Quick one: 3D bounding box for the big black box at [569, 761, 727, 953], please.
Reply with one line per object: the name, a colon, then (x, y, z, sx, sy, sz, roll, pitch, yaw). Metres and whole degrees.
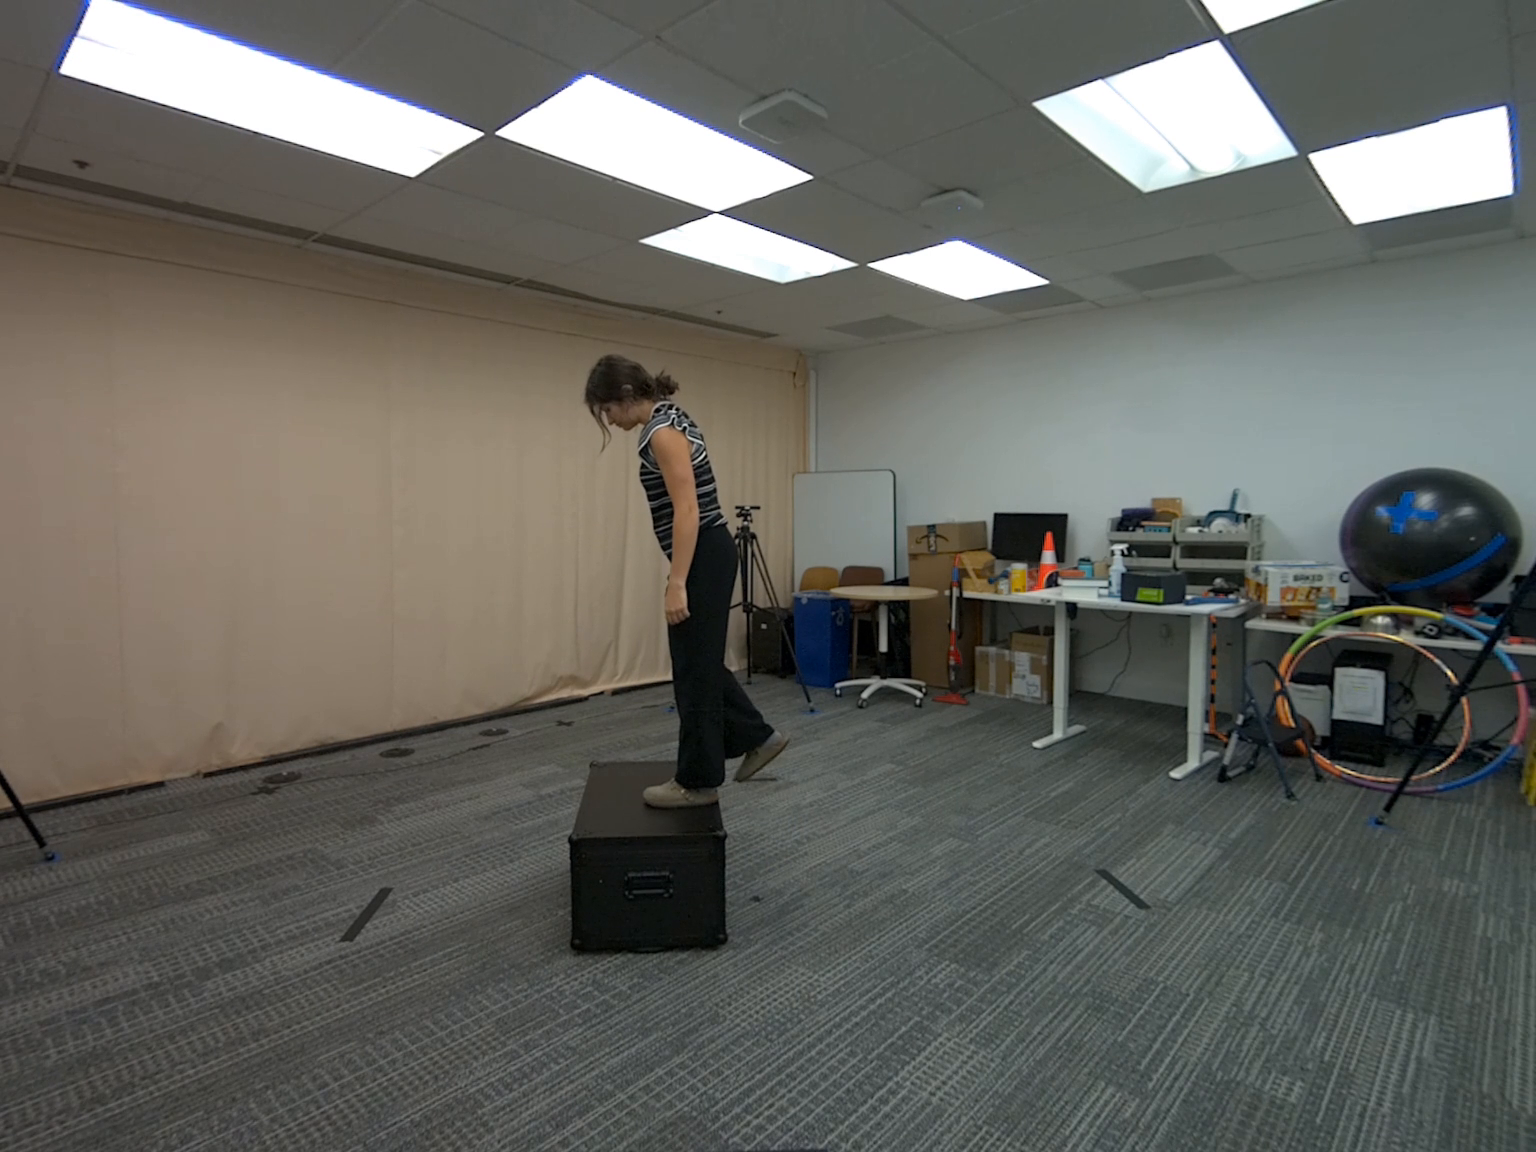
big black box: (-0.418, 0.951, 3.025, 0.518, 0.395, 0.869, 0, 5, -7)
